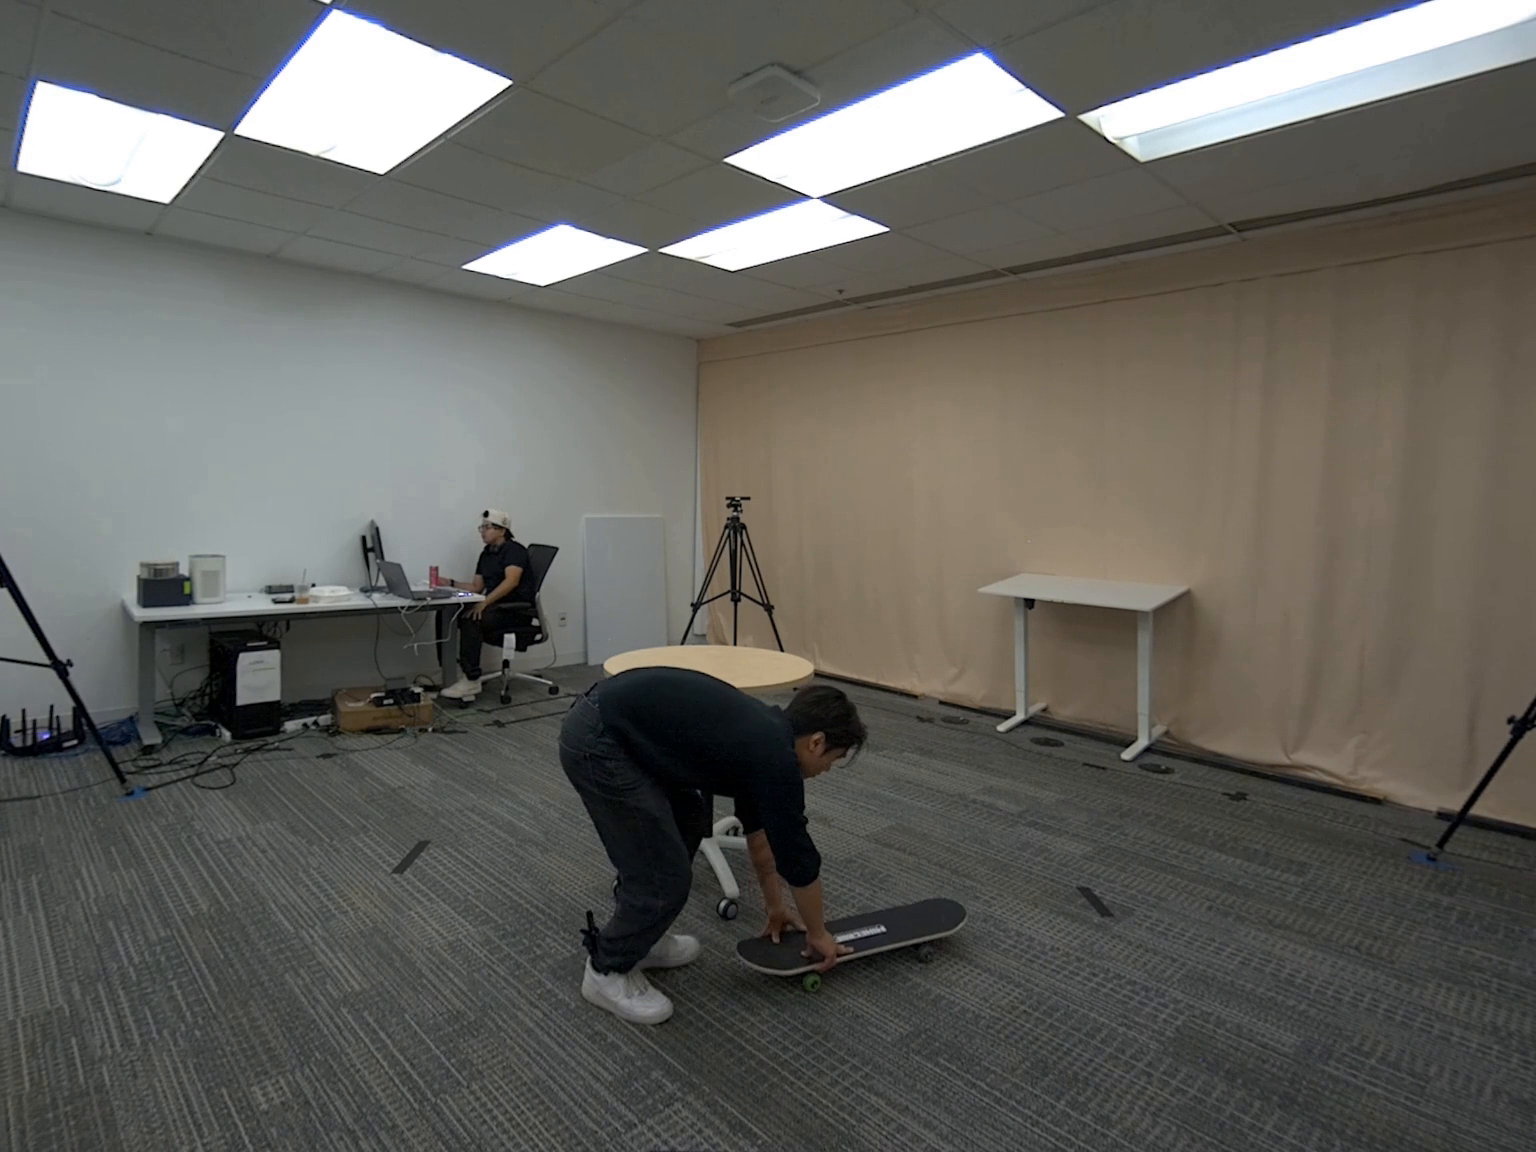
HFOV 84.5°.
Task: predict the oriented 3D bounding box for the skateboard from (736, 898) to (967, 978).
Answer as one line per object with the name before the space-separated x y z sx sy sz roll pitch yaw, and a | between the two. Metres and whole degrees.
skateboard | 0.258 1.109 2.540 0.771 0.110 0.197 -1 6 -25
